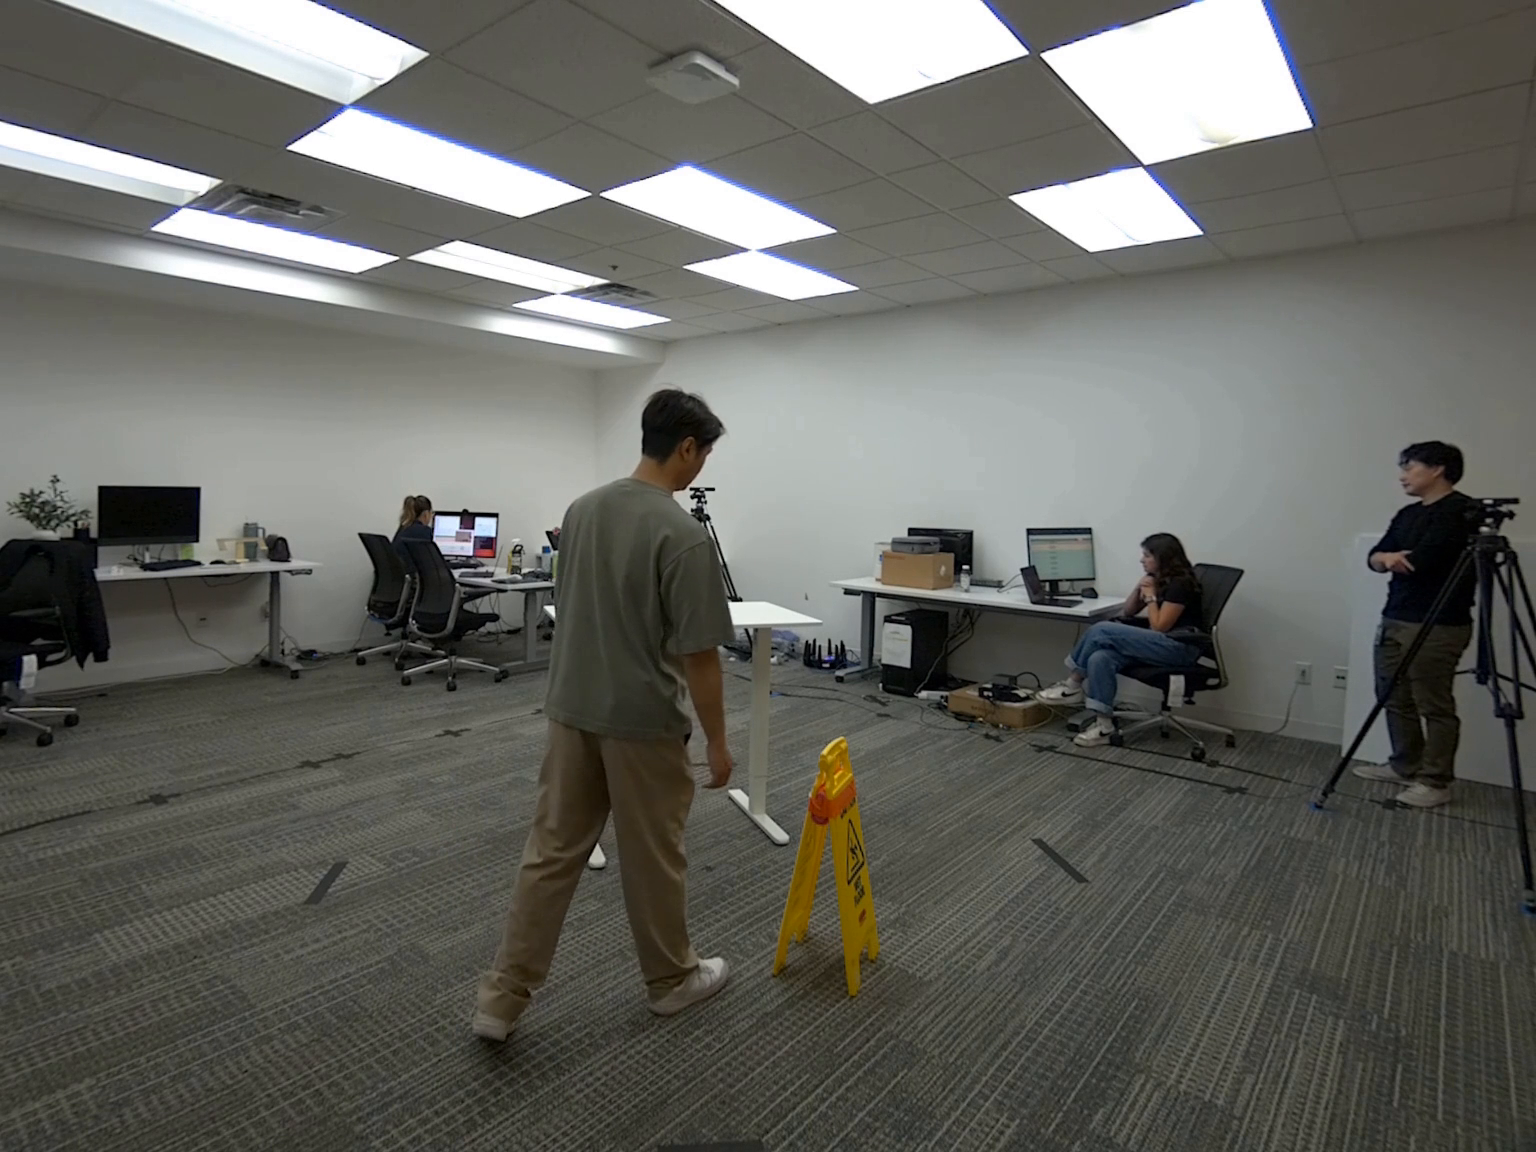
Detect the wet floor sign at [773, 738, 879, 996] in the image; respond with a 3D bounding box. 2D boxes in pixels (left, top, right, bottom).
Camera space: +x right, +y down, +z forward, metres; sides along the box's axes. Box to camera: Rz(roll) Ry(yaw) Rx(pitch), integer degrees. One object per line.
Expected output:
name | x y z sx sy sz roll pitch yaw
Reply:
wet floor sign | 0.180 0.813 2.487 0.296 0.644 0.277 3 4 21
